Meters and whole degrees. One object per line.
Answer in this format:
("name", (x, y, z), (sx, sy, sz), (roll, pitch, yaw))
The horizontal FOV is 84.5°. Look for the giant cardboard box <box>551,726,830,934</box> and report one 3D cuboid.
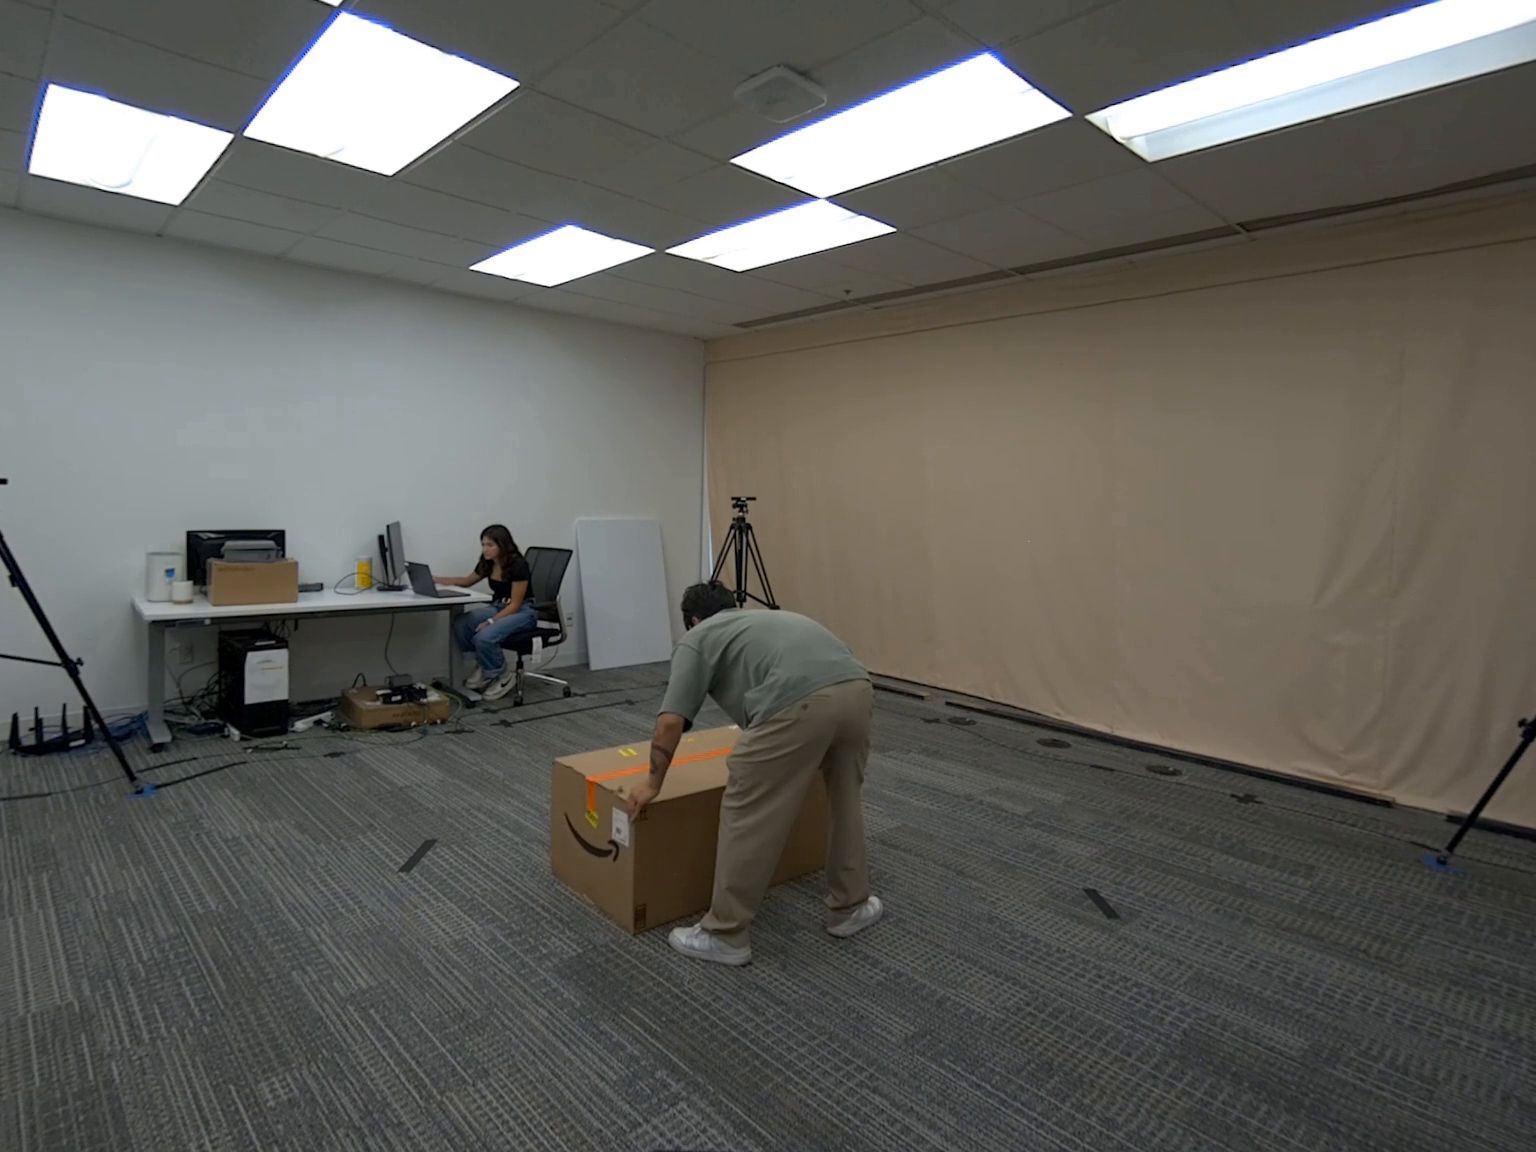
("giant cardboard box", (-0.233, 0.883, 3.189), (1.003, 0.425, 0.592), (-3, 7, -40))
